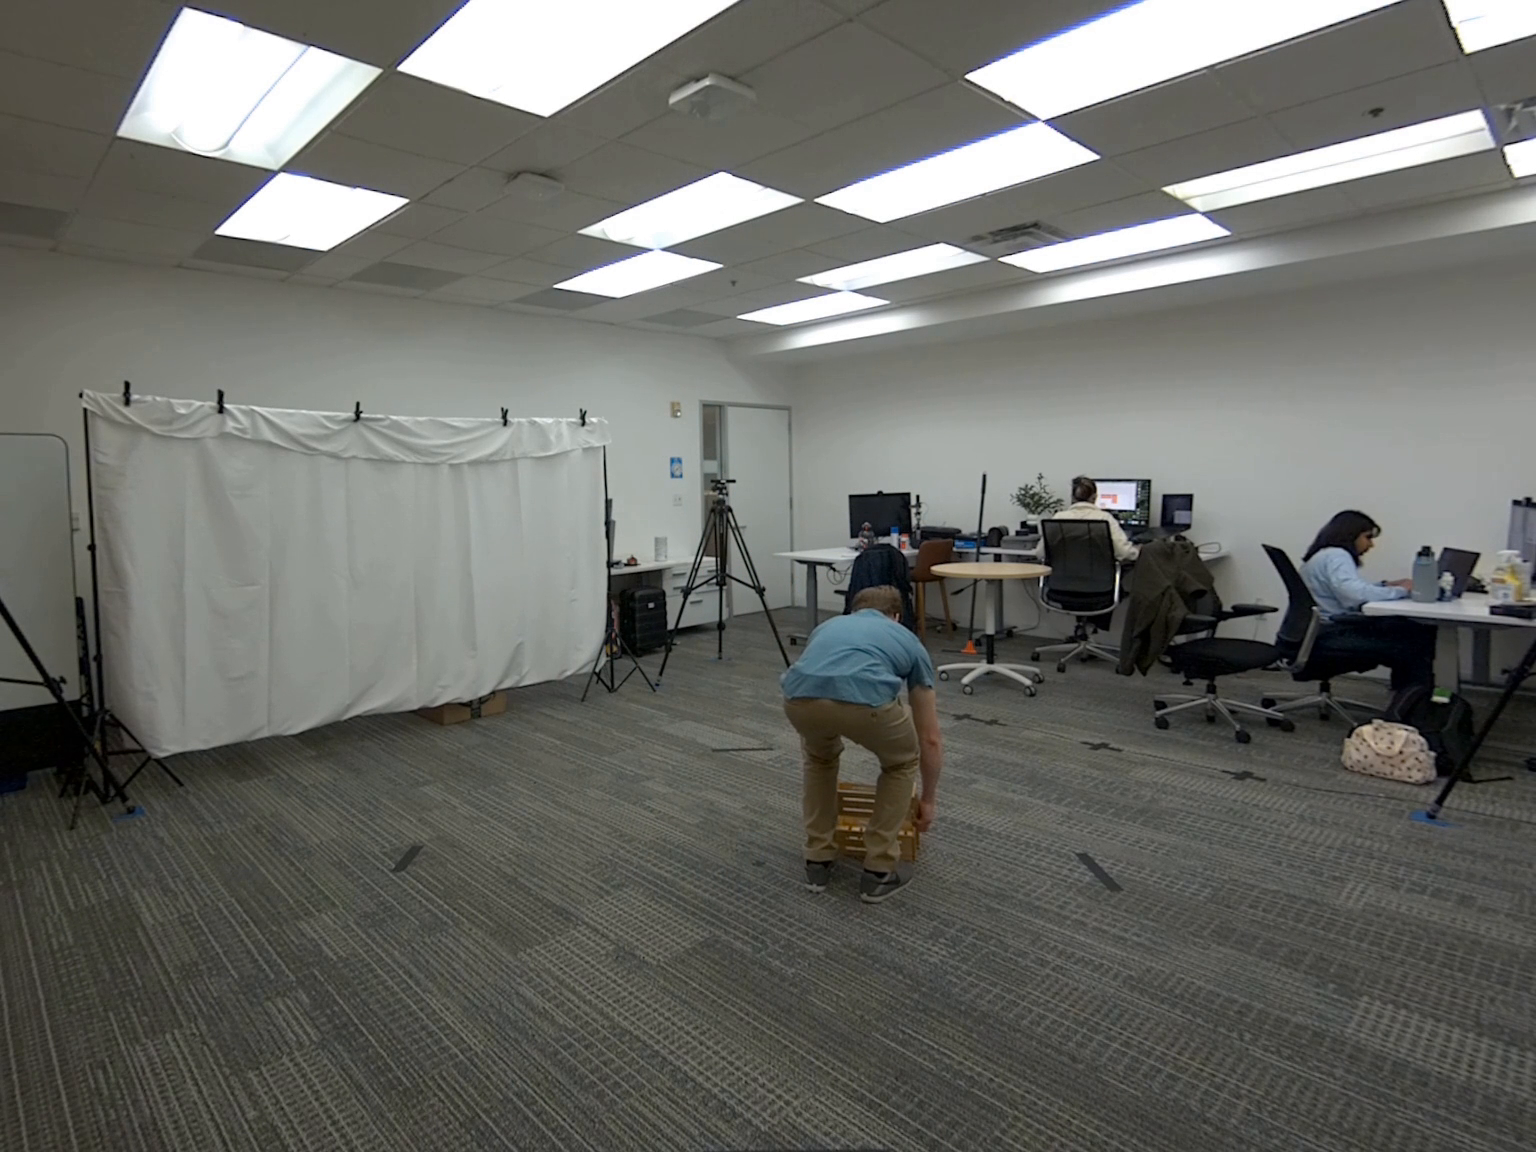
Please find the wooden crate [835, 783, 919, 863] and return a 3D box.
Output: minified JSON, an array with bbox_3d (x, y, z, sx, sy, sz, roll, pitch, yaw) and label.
[{"bbox_3d":[0.412,0.898,3.229,0.329,0.272,0.299,0,6,13],"label":"wooden crate"}]
